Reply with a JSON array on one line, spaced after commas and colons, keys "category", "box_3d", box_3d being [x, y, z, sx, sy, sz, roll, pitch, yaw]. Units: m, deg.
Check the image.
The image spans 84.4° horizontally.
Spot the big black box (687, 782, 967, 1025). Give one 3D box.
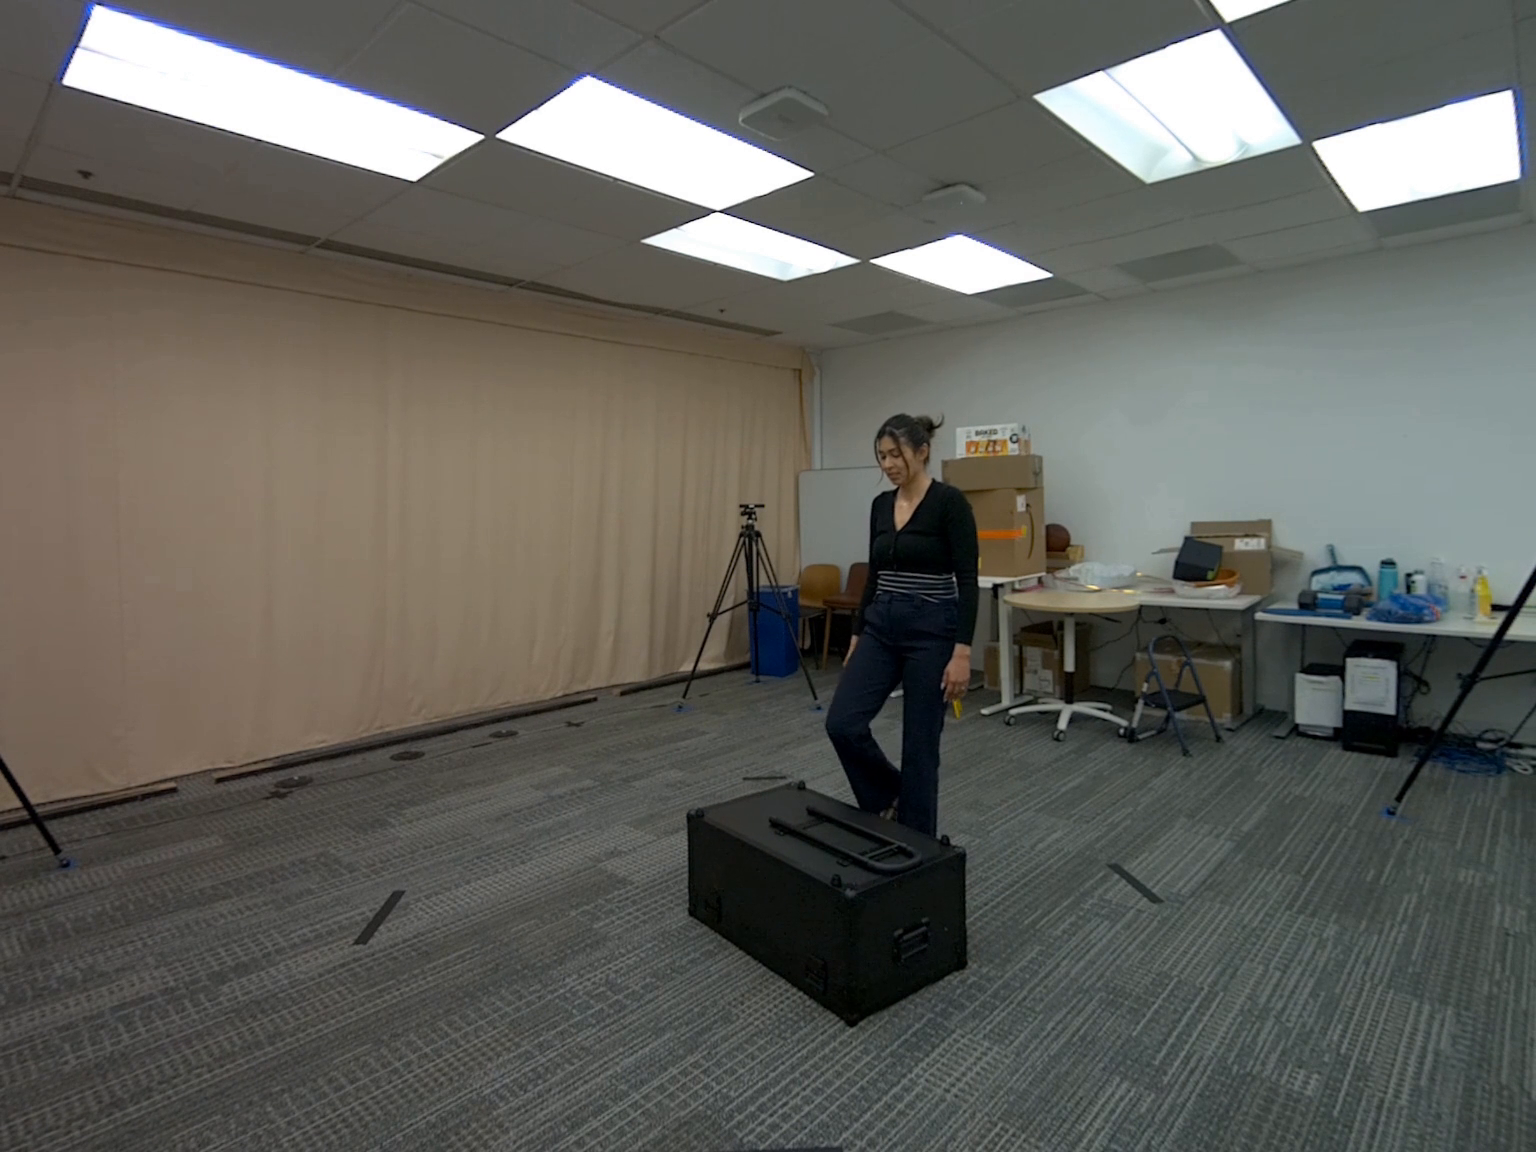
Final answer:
[{"category": "big black box", "box_3d": [0.178, 0.991, 2.656, 0.506, 0.395, 0.889, -5, 6, -38]}]
